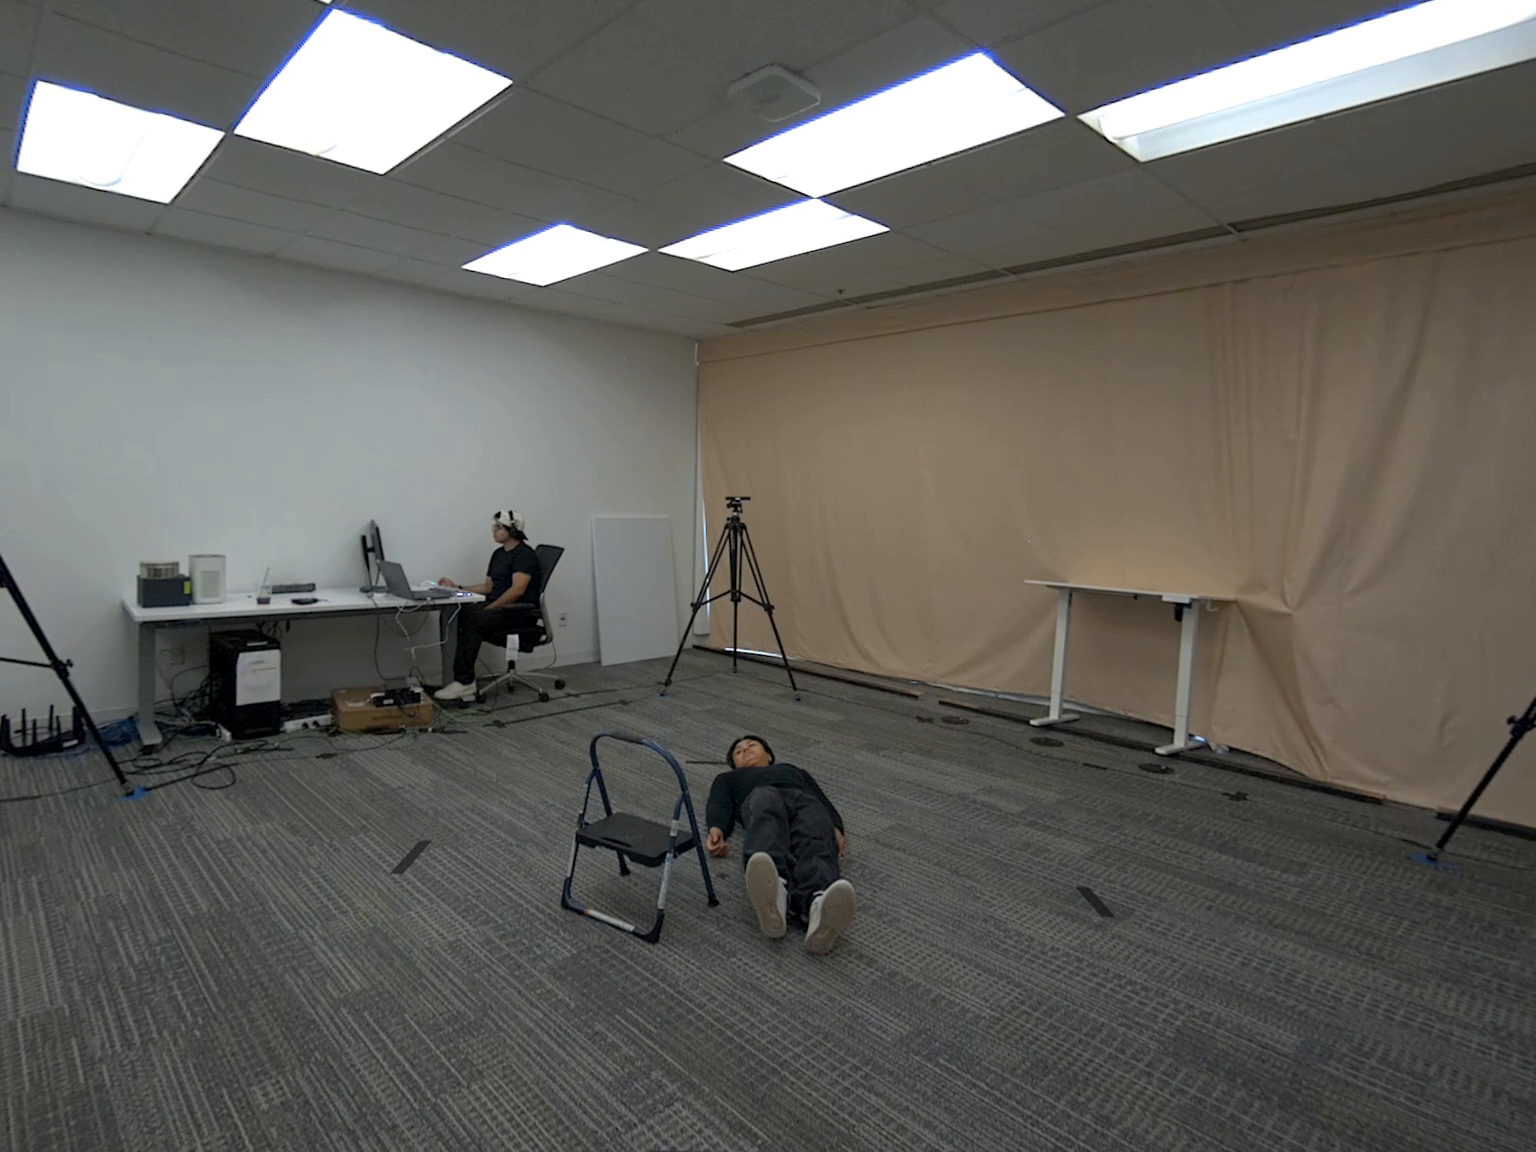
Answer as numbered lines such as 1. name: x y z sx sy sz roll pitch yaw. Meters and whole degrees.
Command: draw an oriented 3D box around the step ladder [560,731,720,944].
1. step ladder: -0.437 0.820 2.848 0.440 0.605 0.342 3 4 32
